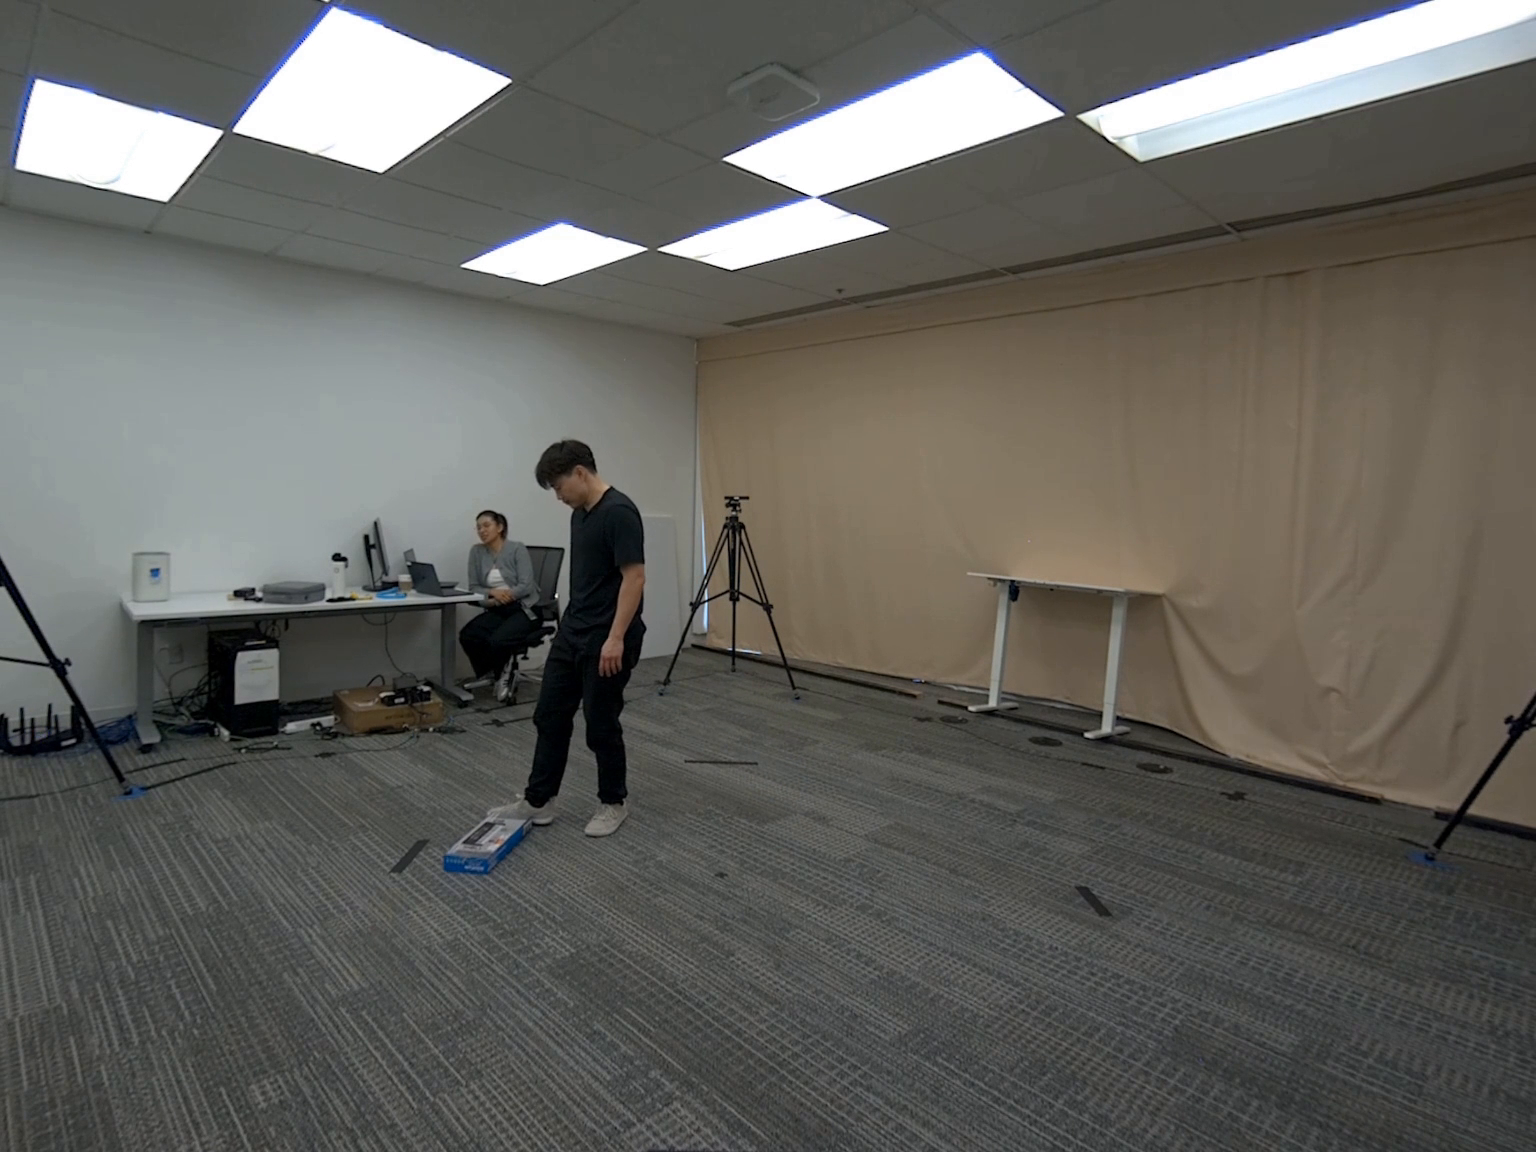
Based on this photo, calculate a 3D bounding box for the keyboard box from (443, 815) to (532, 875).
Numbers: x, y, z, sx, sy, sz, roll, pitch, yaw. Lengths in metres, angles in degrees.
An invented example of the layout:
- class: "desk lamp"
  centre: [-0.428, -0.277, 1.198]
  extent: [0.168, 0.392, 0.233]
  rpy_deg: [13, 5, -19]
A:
- class: "keyboard box"
  centre: [-1.090, 1.037, 3.295]
  extent: [0.177, 0.059, 0.435]
  rpy_deg: [2, 6, 6]
